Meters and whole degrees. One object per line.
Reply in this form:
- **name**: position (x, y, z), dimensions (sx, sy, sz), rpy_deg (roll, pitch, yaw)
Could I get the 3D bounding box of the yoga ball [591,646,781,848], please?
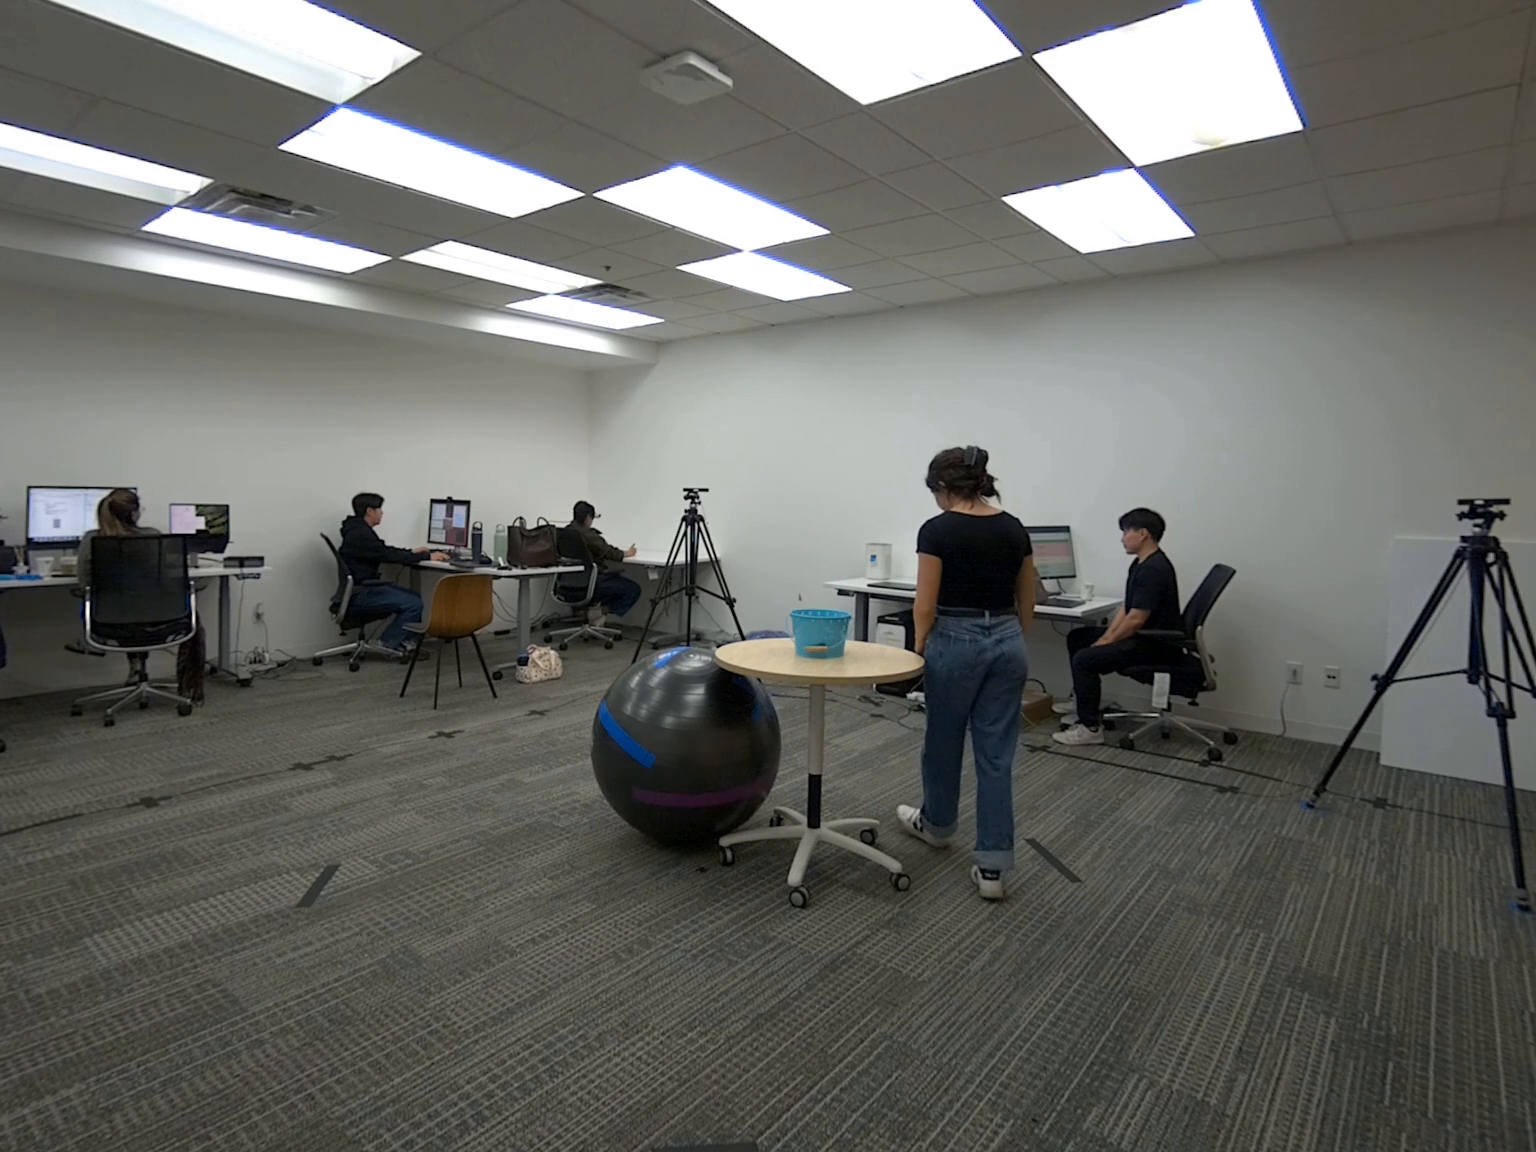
- **yoga ball**: position (-0.339, 0.673, 3.398), dimensions (0.757, 0.756, 0.762), rpy_deg (1, 4, -2)
